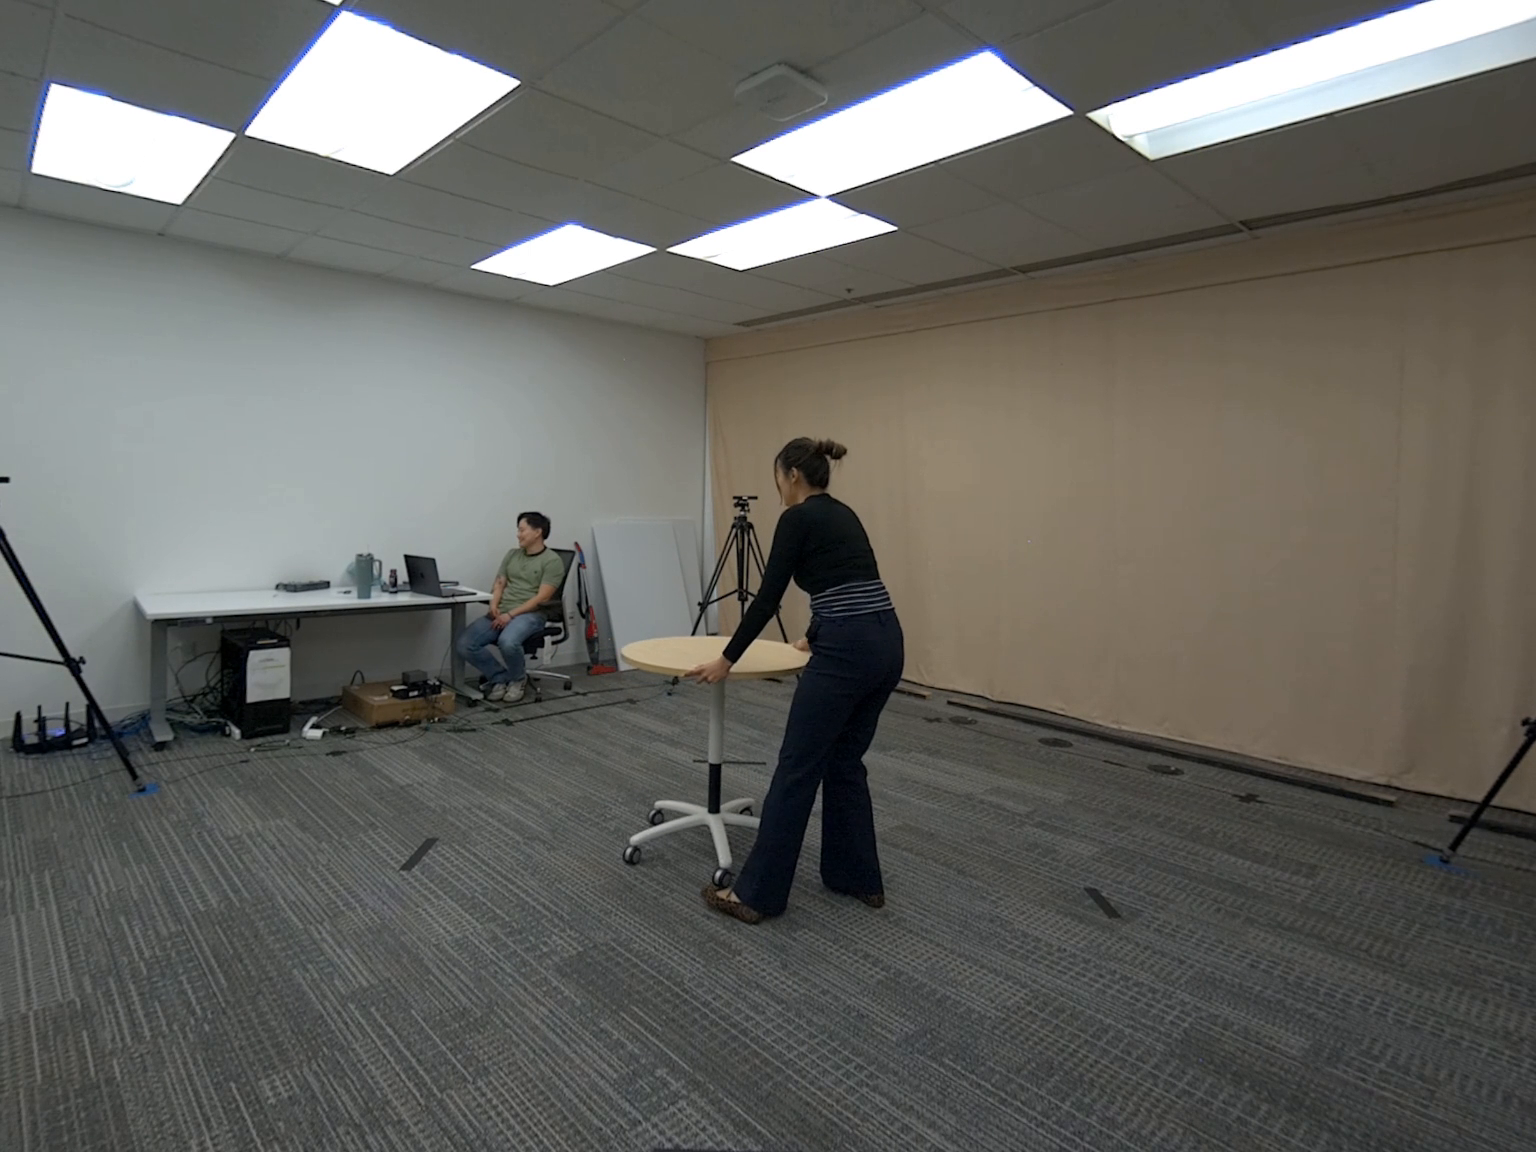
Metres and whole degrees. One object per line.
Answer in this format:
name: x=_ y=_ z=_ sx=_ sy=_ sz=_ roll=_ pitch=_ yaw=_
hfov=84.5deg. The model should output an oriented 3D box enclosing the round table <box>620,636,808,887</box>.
round table: x=-0.214 y=0.693 z=3.329 sx=0.763 sy=0.792 sz=0.766 roll=2 pitch=4 yaw=-1
